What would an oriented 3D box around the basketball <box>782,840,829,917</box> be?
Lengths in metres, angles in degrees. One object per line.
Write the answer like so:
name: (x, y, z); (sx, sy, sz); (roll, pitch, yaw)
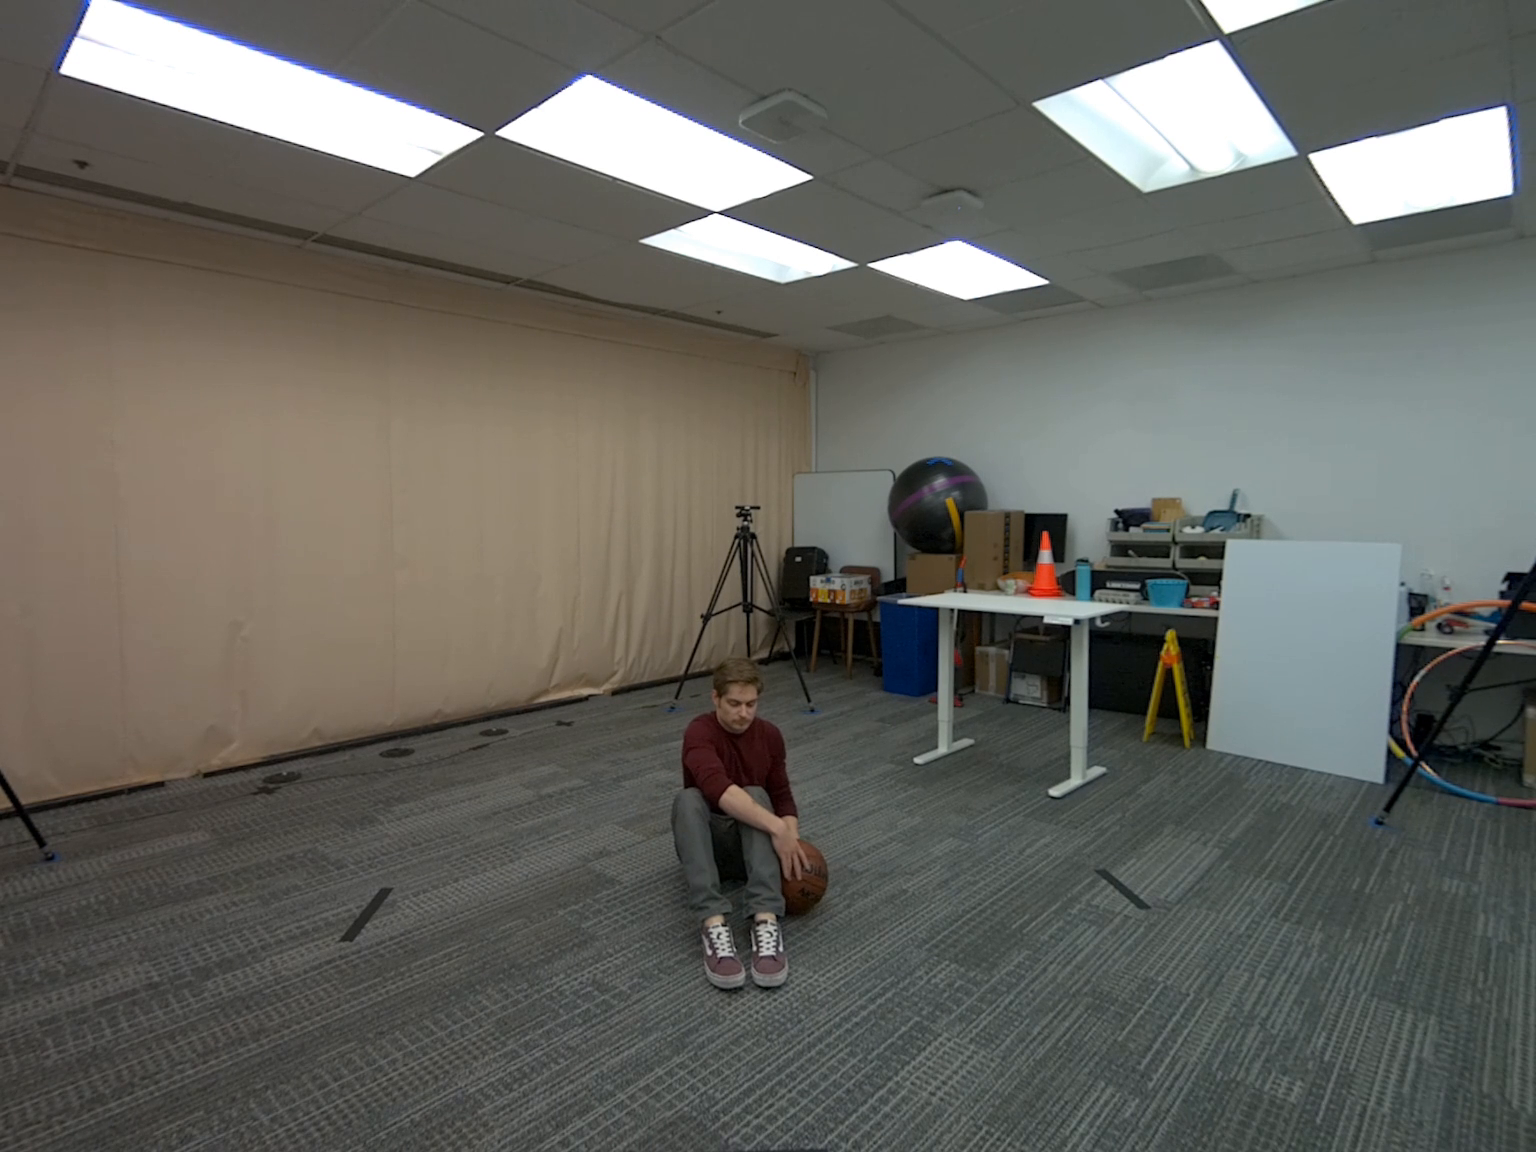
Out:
basketball: (0.099, 1.013, 2.876); (0.236, 0.235, 0.237); (0, 4, -2)
